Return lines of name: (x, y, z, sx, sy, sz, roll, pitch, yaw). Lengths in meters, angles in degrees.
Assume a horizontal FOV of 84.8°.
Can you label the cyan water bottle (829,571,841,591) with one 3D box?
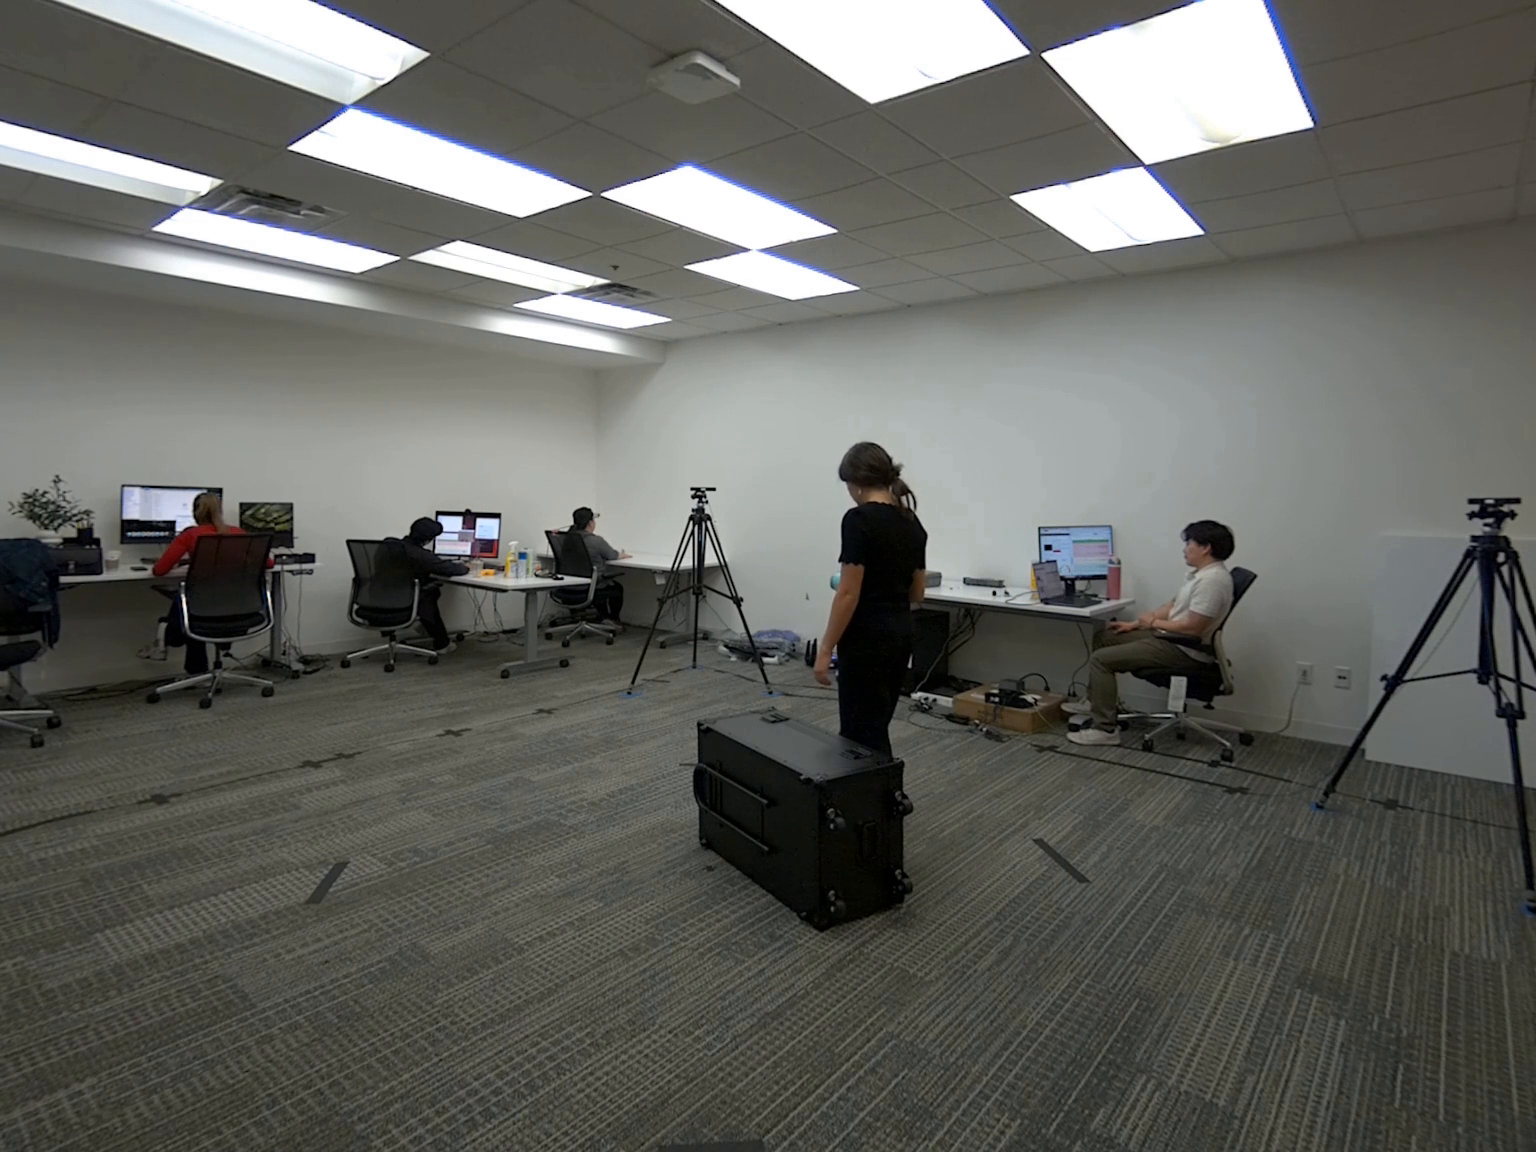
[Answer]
cyan water bottle: (0.332, 0.027, 3.566, 0.091, 0.092, 0.288, 0, 3, -16)
